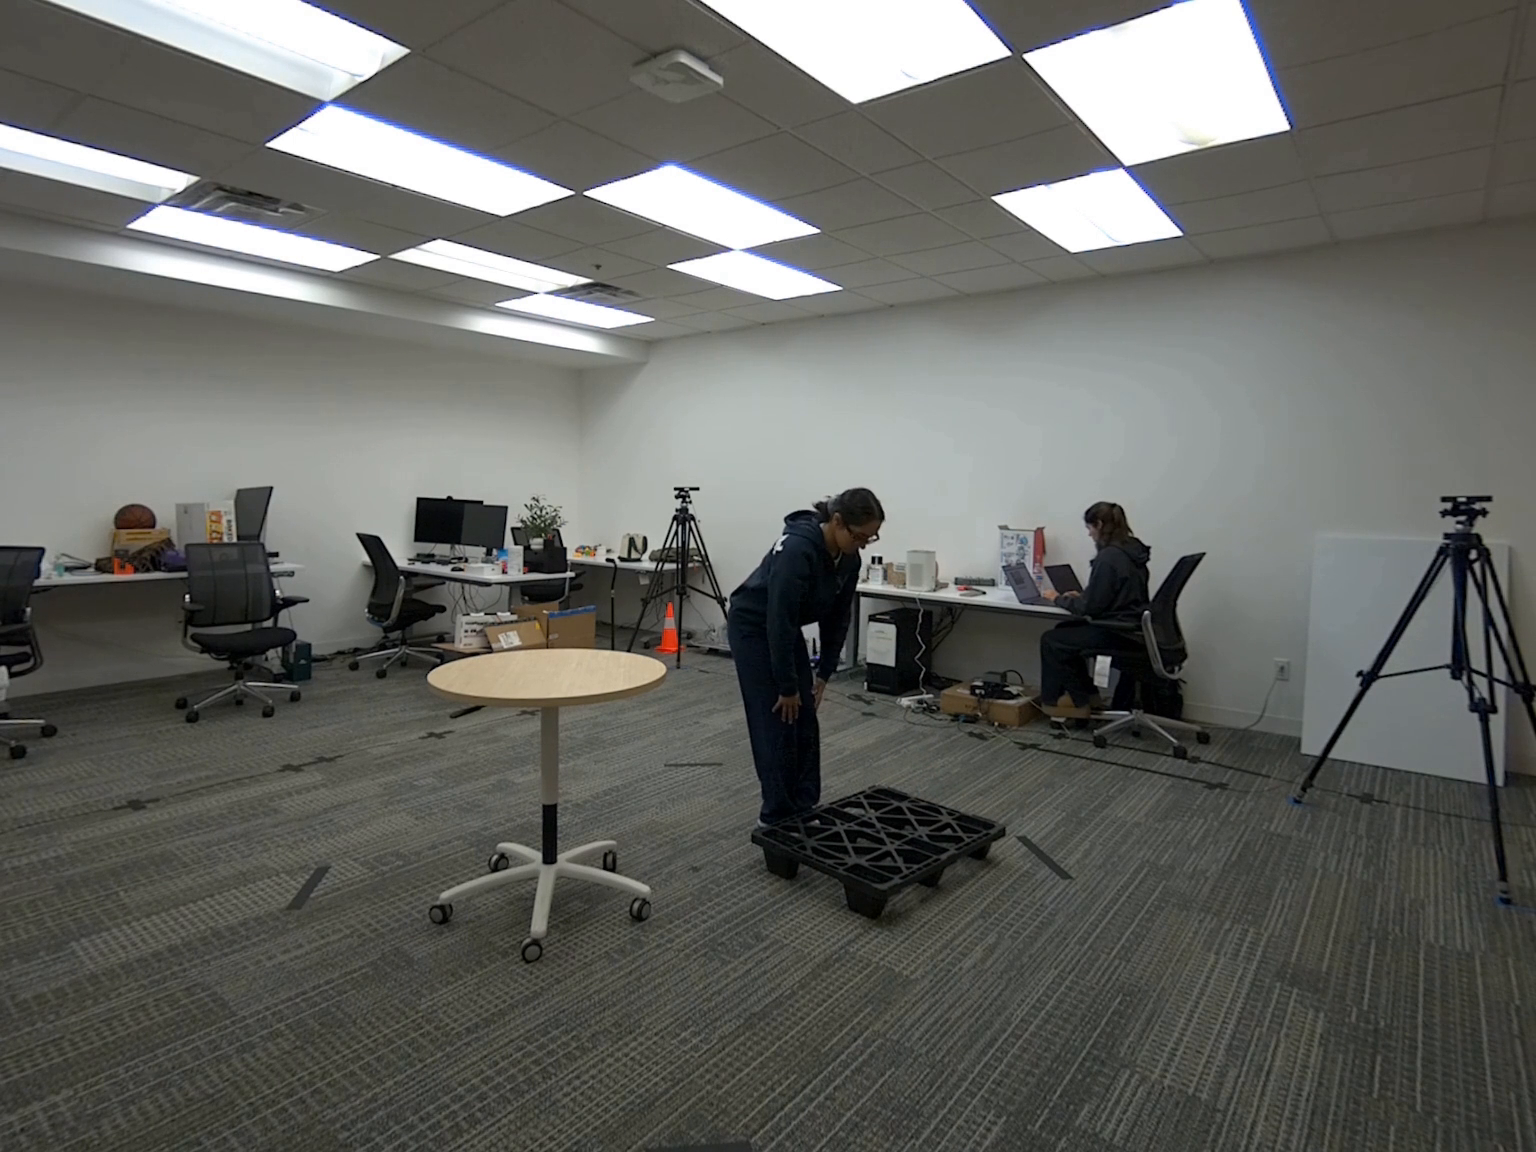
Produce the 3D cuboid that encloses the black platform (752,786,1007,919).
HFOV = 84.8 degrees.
[{"bbox_3d":[0.408,1.008,3.174,0.626,0.143,0.781,6,7,45],"label":"black platform"}]
